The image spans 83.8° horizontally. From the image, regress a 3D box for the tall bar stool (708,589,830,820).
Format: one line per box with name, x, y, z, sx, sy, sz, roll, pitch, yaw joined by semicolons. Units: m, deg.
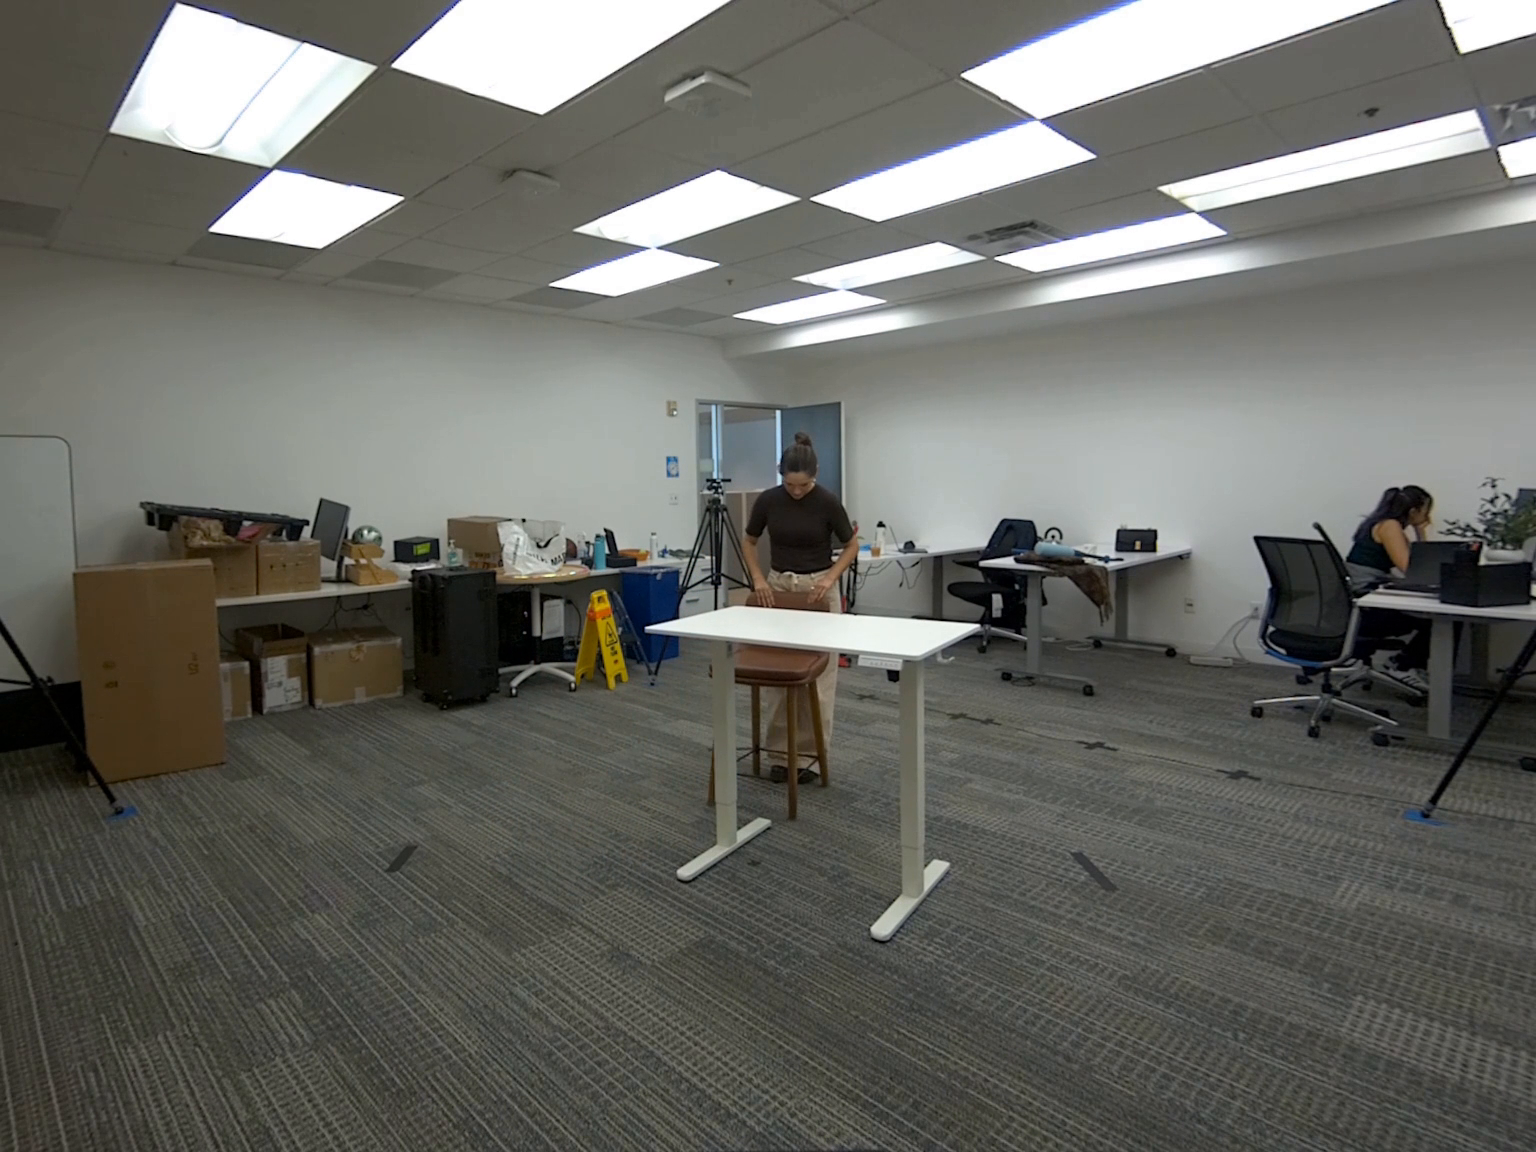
tall bar stool;0.018;0.531;3.751;0.468;0.888;0.457;1;2;27
